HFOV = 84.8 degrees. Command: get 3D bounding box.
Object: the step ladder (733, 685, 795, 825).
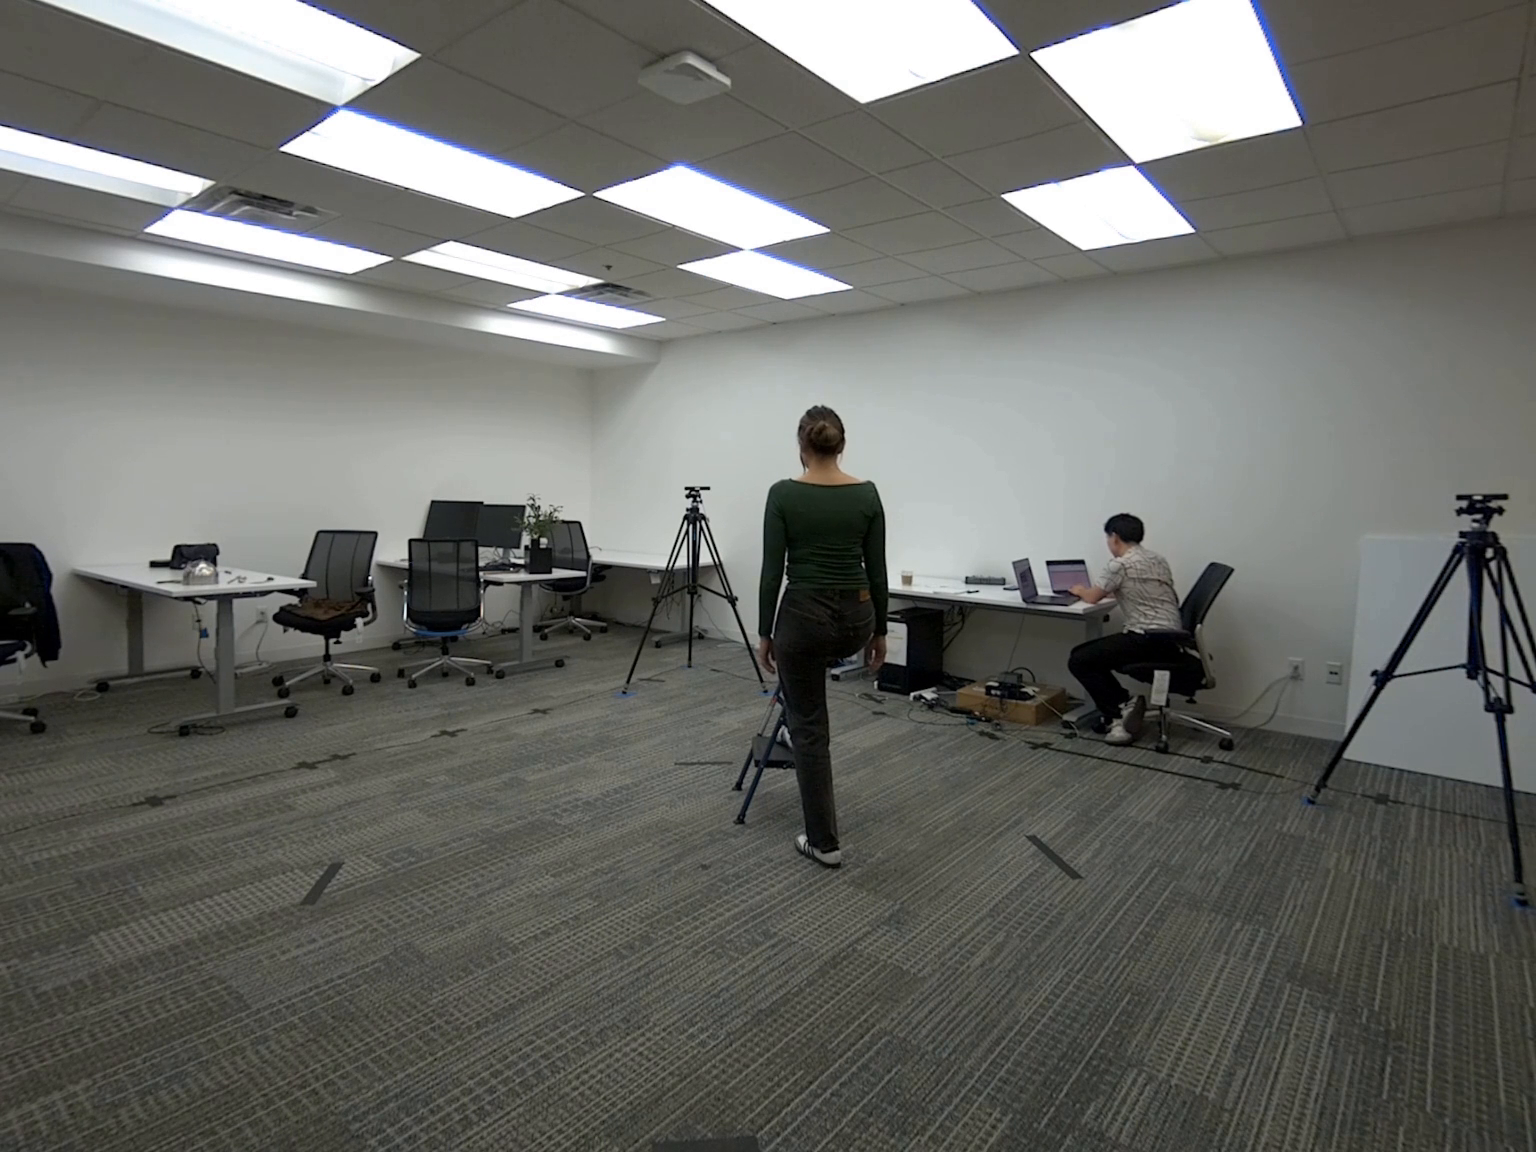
[{"bbox_3d":[0.016,0.709,3.721,0.349,0.604,0.433,0,4,-3],"label":"step ladder"}]
